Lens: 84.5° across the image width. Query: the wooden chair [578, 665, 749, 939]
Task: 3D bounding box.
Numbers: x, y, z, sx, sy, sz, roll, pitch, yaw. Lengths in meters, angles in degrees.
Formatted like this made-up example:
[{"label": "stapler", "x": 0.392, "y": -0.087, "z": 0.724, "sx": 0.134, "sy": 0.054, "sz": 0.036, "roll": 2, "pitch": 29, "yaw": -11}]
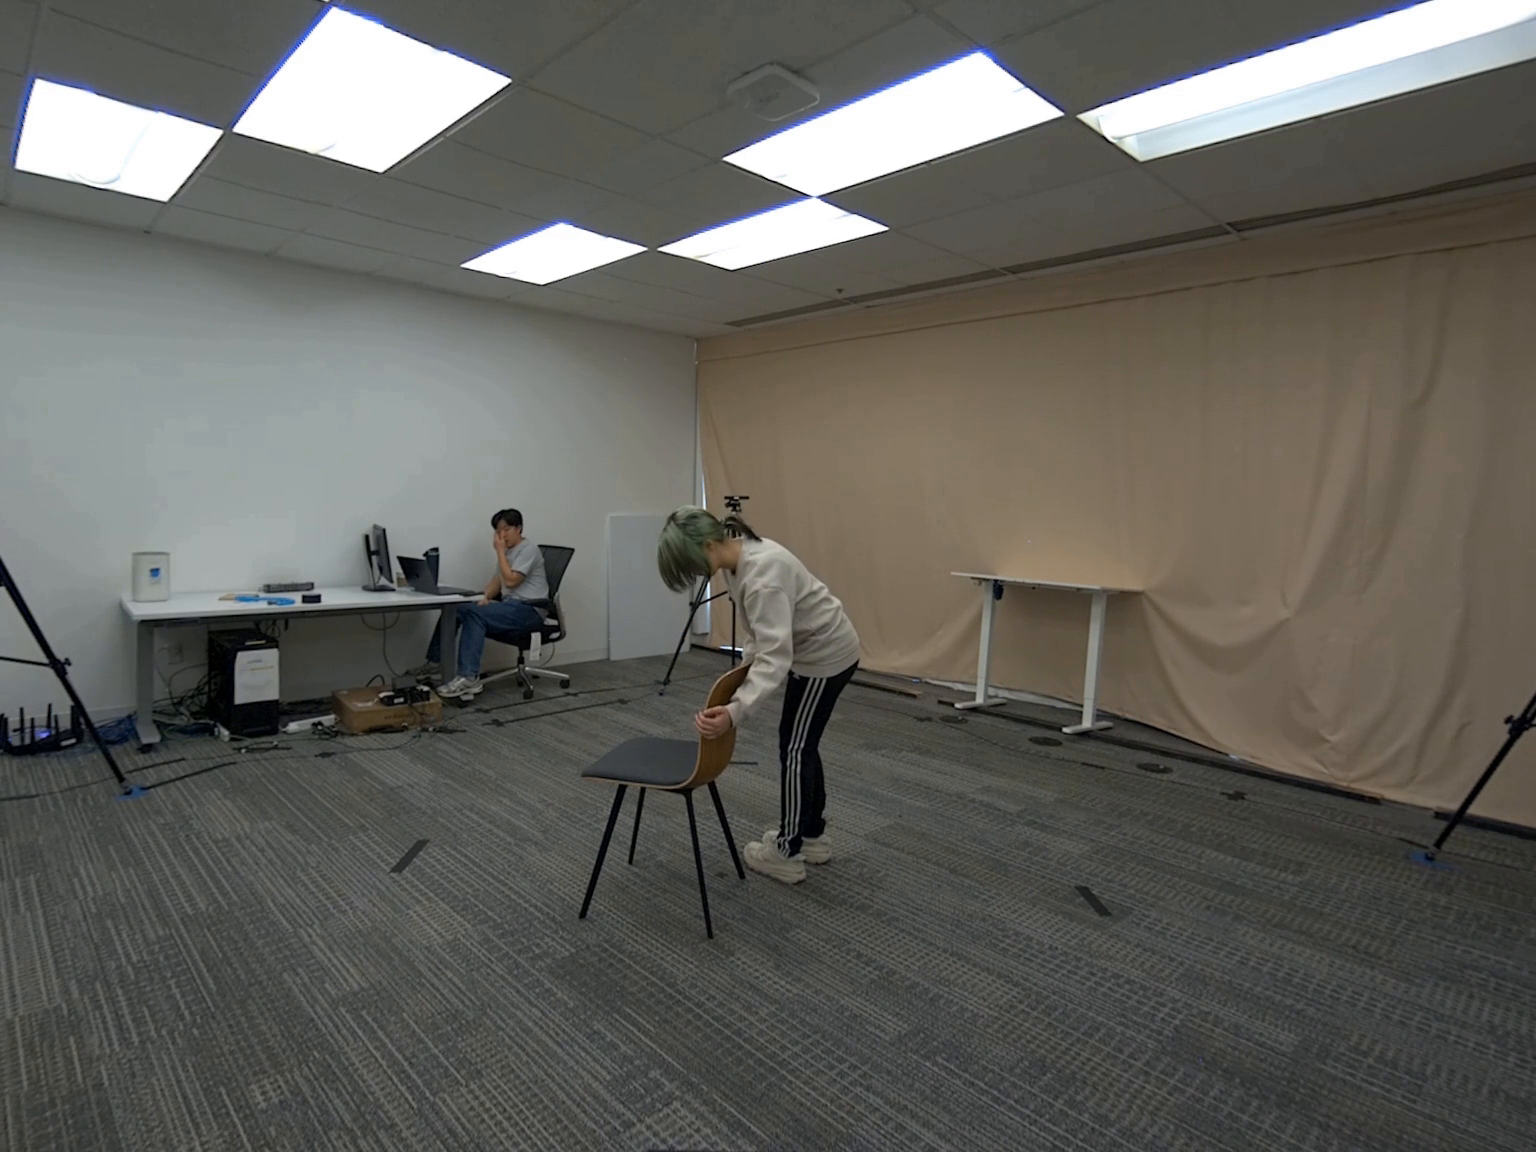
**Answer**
[{"label": "wooden chair", "x": -0.354, "y": 0.691, "z": 2.882, "sx": 0.530, "sy": 0.874, "sz": 0.474, "roll": 6, "pitch": 5, "yaw": 14}]
